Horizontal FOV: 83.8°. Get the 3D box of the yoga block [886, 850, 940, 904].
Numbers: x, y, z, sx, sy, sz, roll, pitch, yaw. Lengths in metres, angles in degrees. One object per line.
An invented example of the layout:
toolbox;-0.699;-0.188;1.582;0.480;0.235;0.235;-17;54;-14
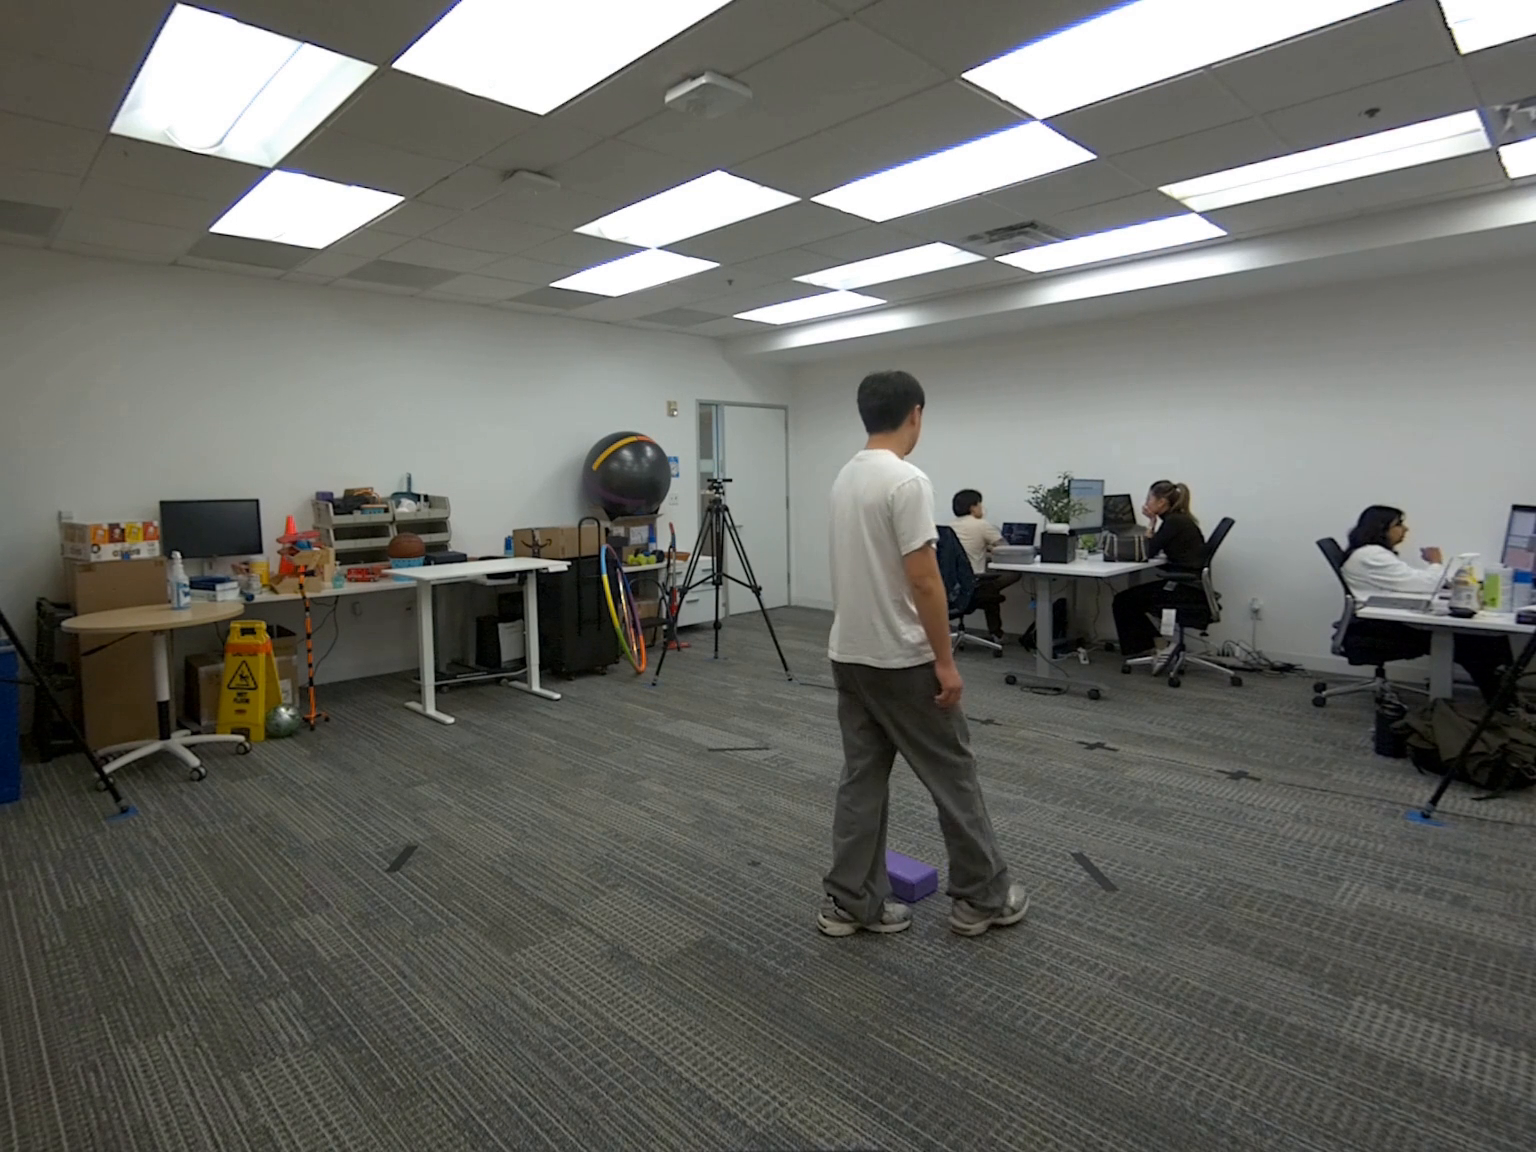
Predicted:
yoga block;0.450;1.022;2.921;0.145;0.076;0.236;-6;8;-42
